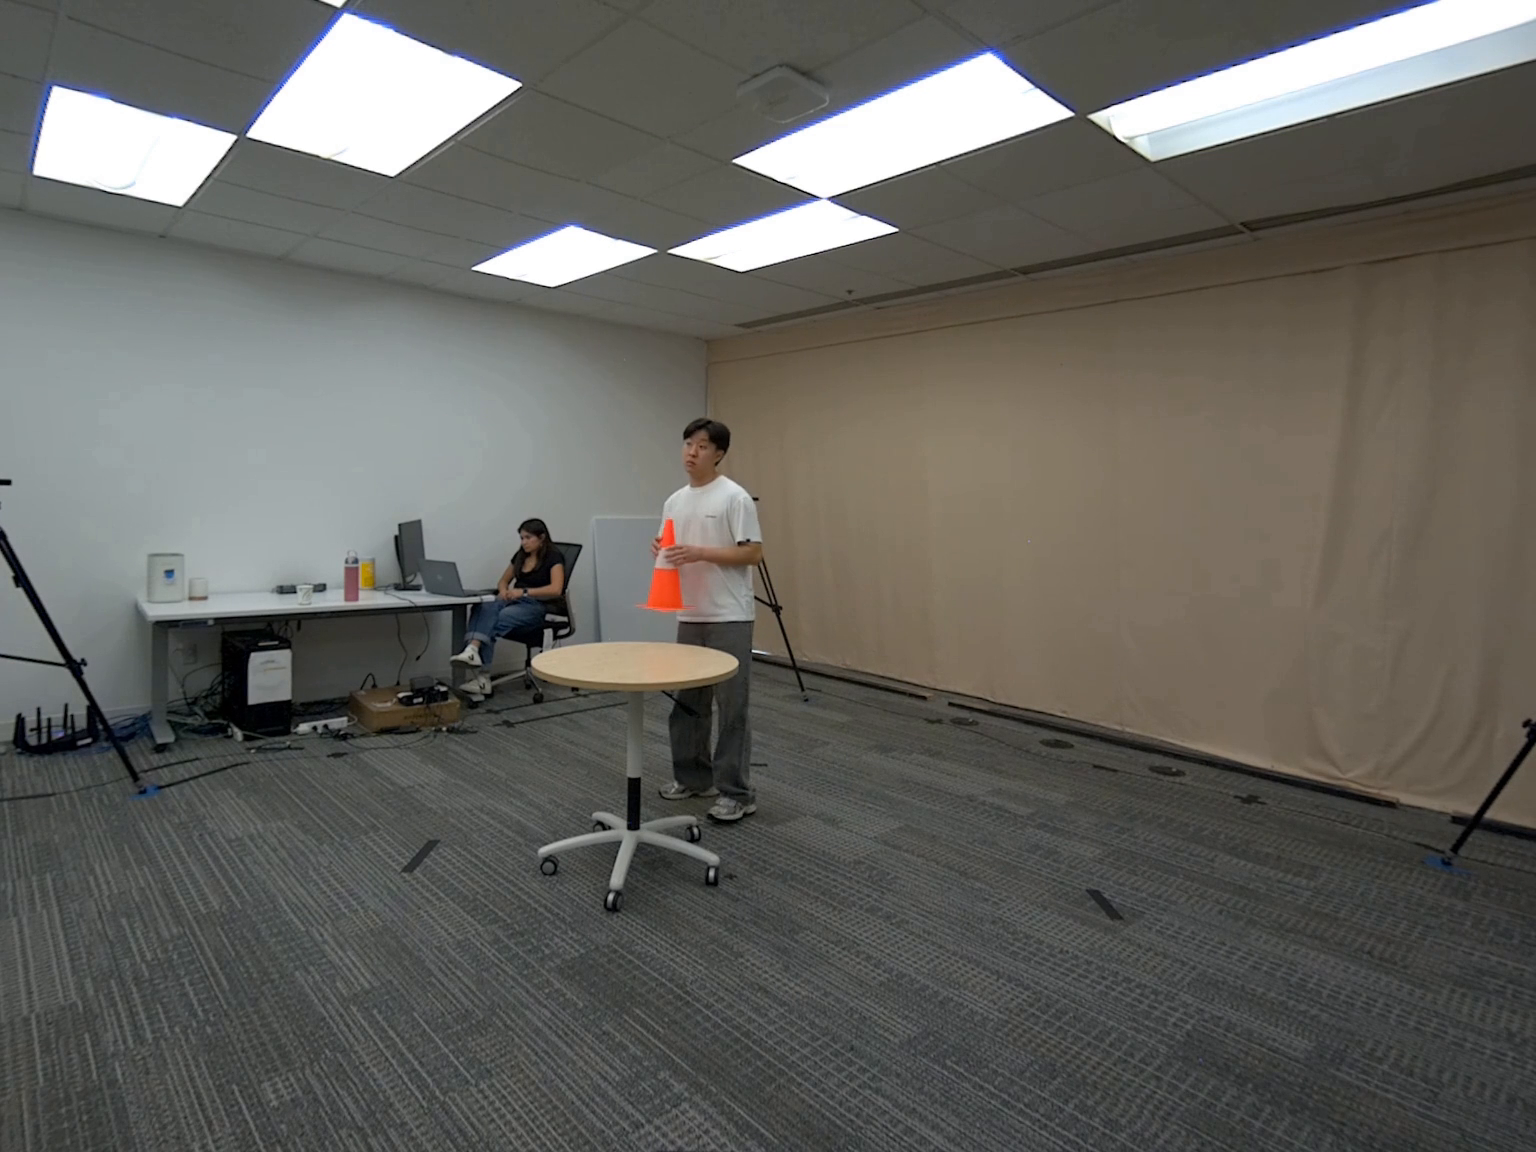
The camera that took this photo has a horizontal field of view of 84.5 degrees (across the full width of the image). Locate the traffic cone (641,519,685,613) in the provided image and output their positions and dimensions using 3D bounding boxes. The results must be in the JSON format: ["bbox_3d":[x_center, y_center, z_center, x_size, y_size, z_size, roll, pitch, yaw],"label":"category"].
[{"bbox_3d":[-0.450,-0.054,3.637,0.201,0.383,0.207,4,2,-14],"label":"traffic cone"}]
